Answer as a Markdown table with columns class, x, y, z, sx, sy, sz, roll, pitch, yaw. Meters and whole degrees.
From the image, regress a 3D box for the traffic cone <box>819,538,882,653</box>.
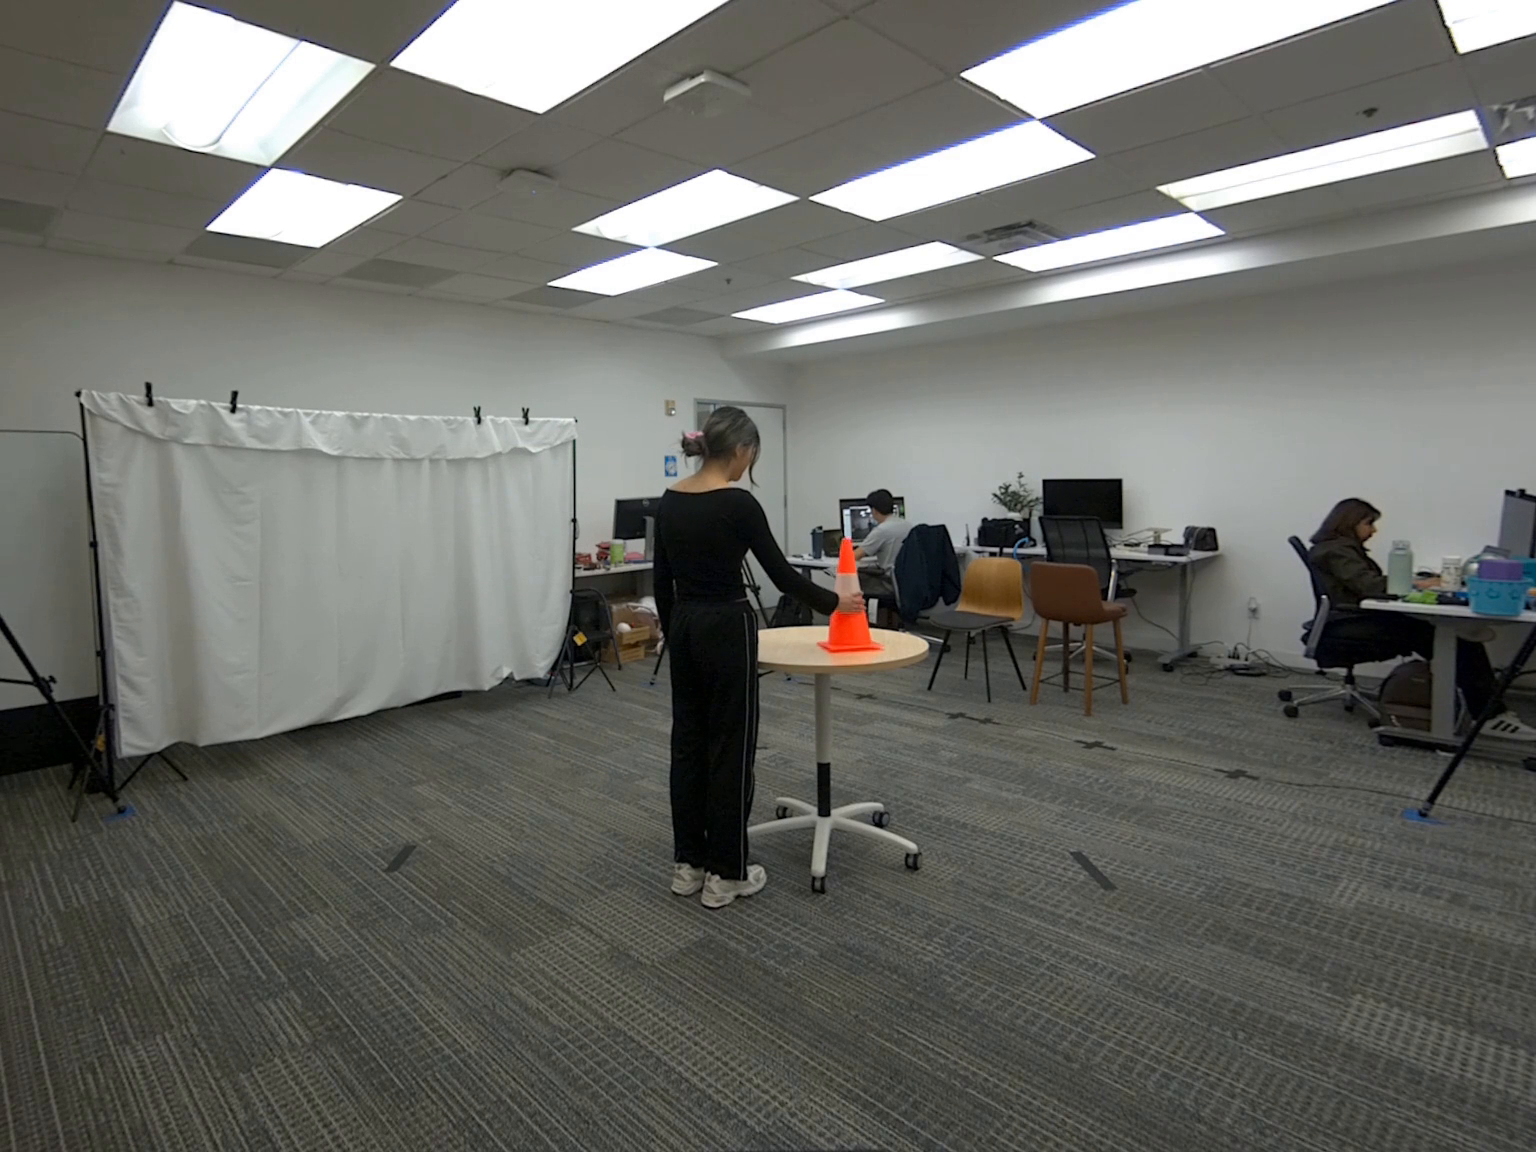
| class | x | y | z | sx | sy | sz | roll | pitch | yaw |
| --- | --- | --- | --- | --- | --- | --- | --- | --- | --- |
| traffic cone | 0.281 | 0.055 | 3.076 | 0.200 | 0.384 | 0.208 | -3 | 0 | -16 |
